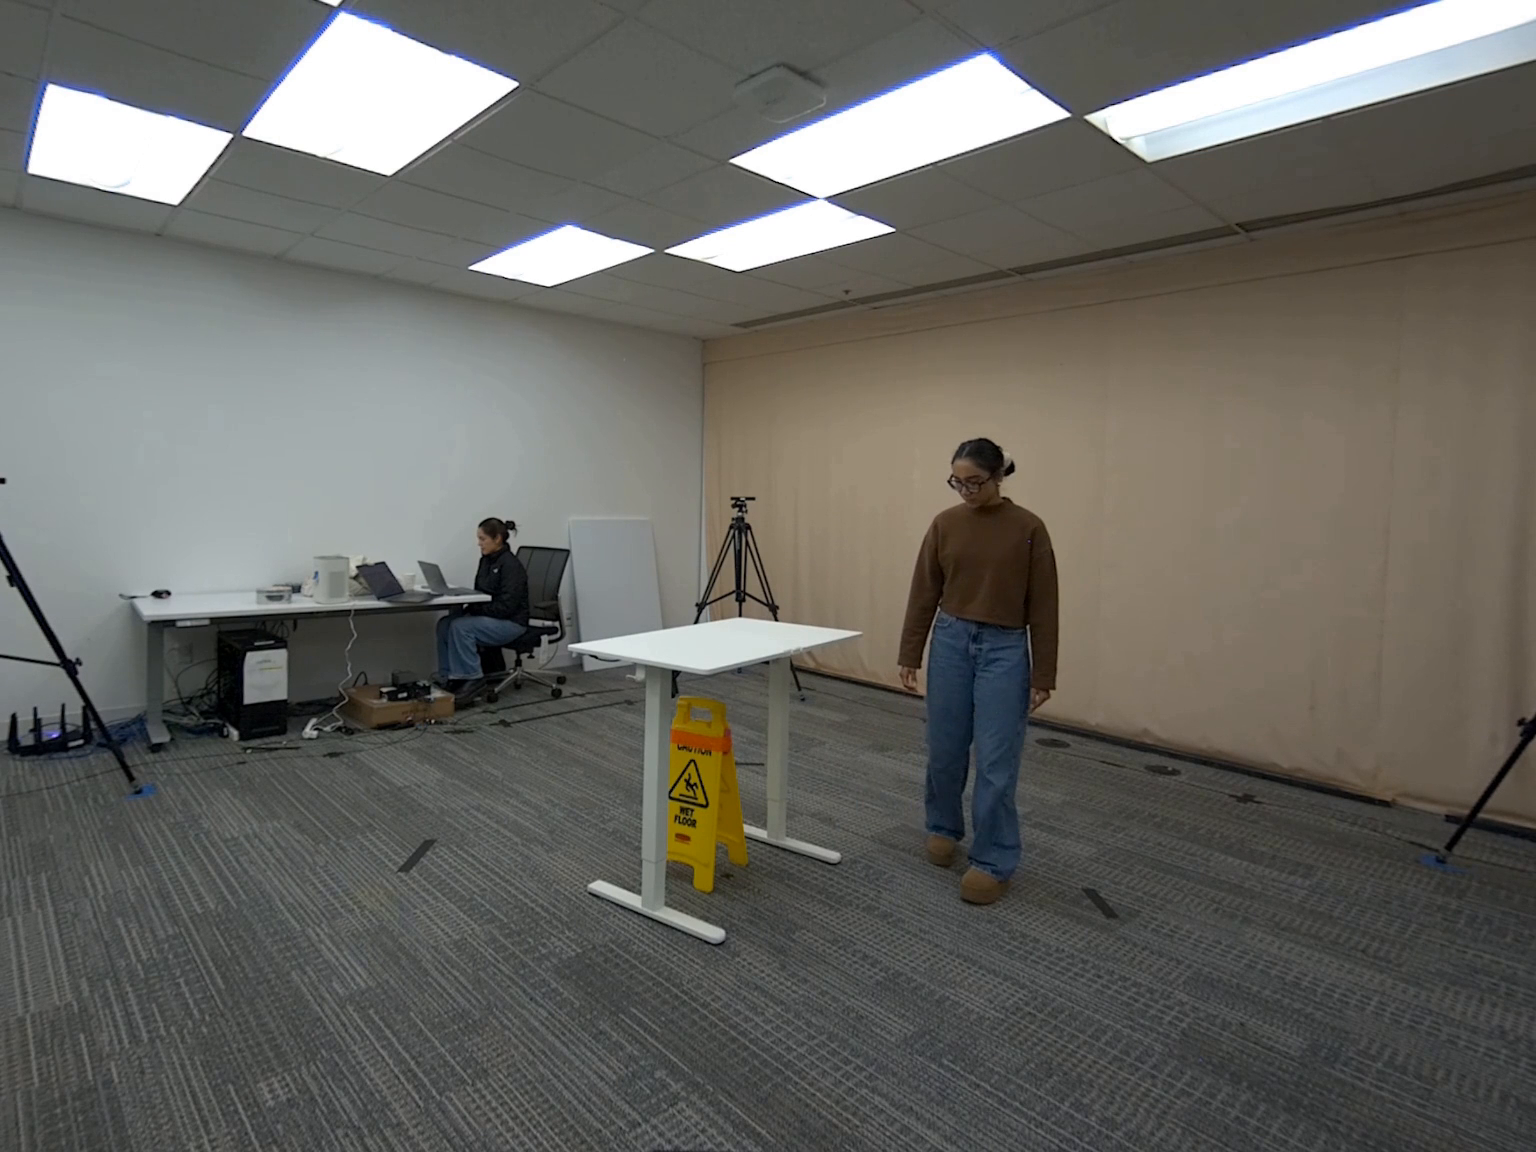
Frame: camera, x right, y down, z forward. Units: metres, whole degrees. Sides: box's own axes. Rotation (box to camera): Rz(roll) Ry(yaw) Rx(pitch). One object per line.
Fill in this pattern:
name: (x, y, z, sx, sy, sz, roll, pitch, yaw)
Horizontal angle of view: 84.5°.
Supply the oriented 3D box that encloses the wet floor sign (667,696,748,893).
wet floor sign: (-0.254, 0.776, 3.134, 0.288, 0.645, 0.284, 4, 3, 28)
